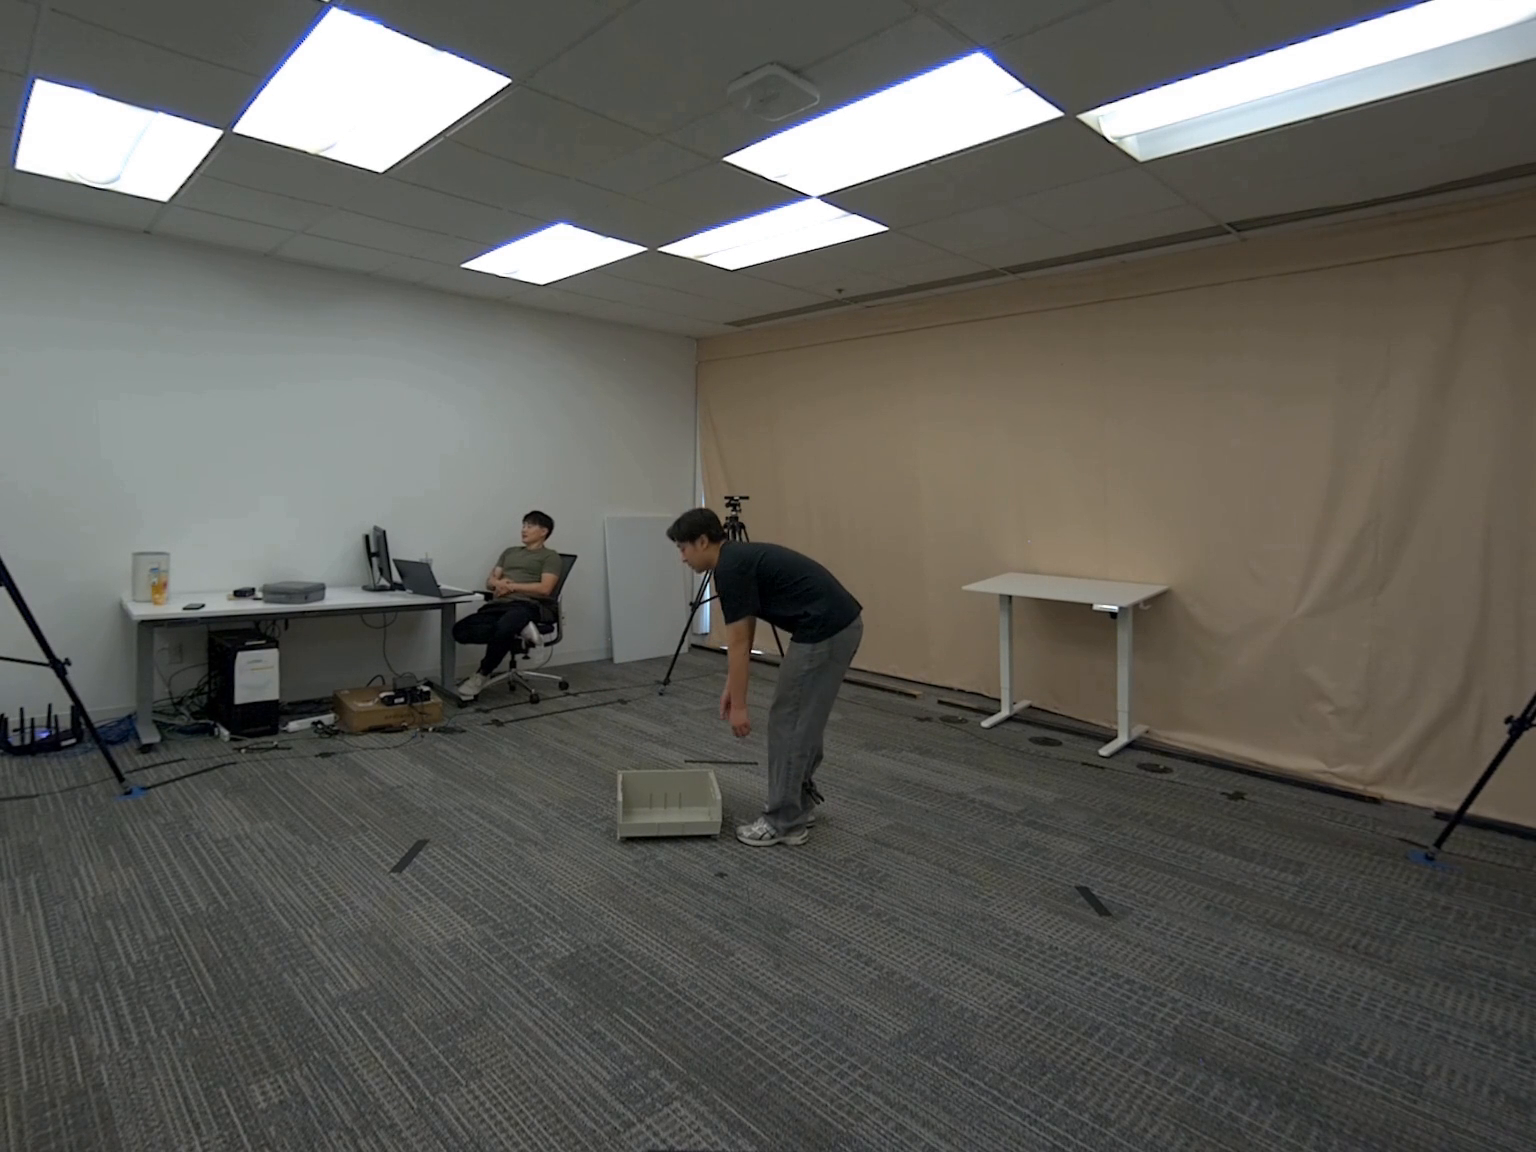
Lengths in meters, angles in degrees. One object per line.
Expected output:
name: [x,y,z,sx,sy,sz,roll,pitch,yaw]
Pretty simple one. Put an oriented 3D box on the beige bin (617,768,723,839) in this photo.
beige bin: [-0.427,0.971,3.555,0.419,0.188,0.381,1,4,-9]
